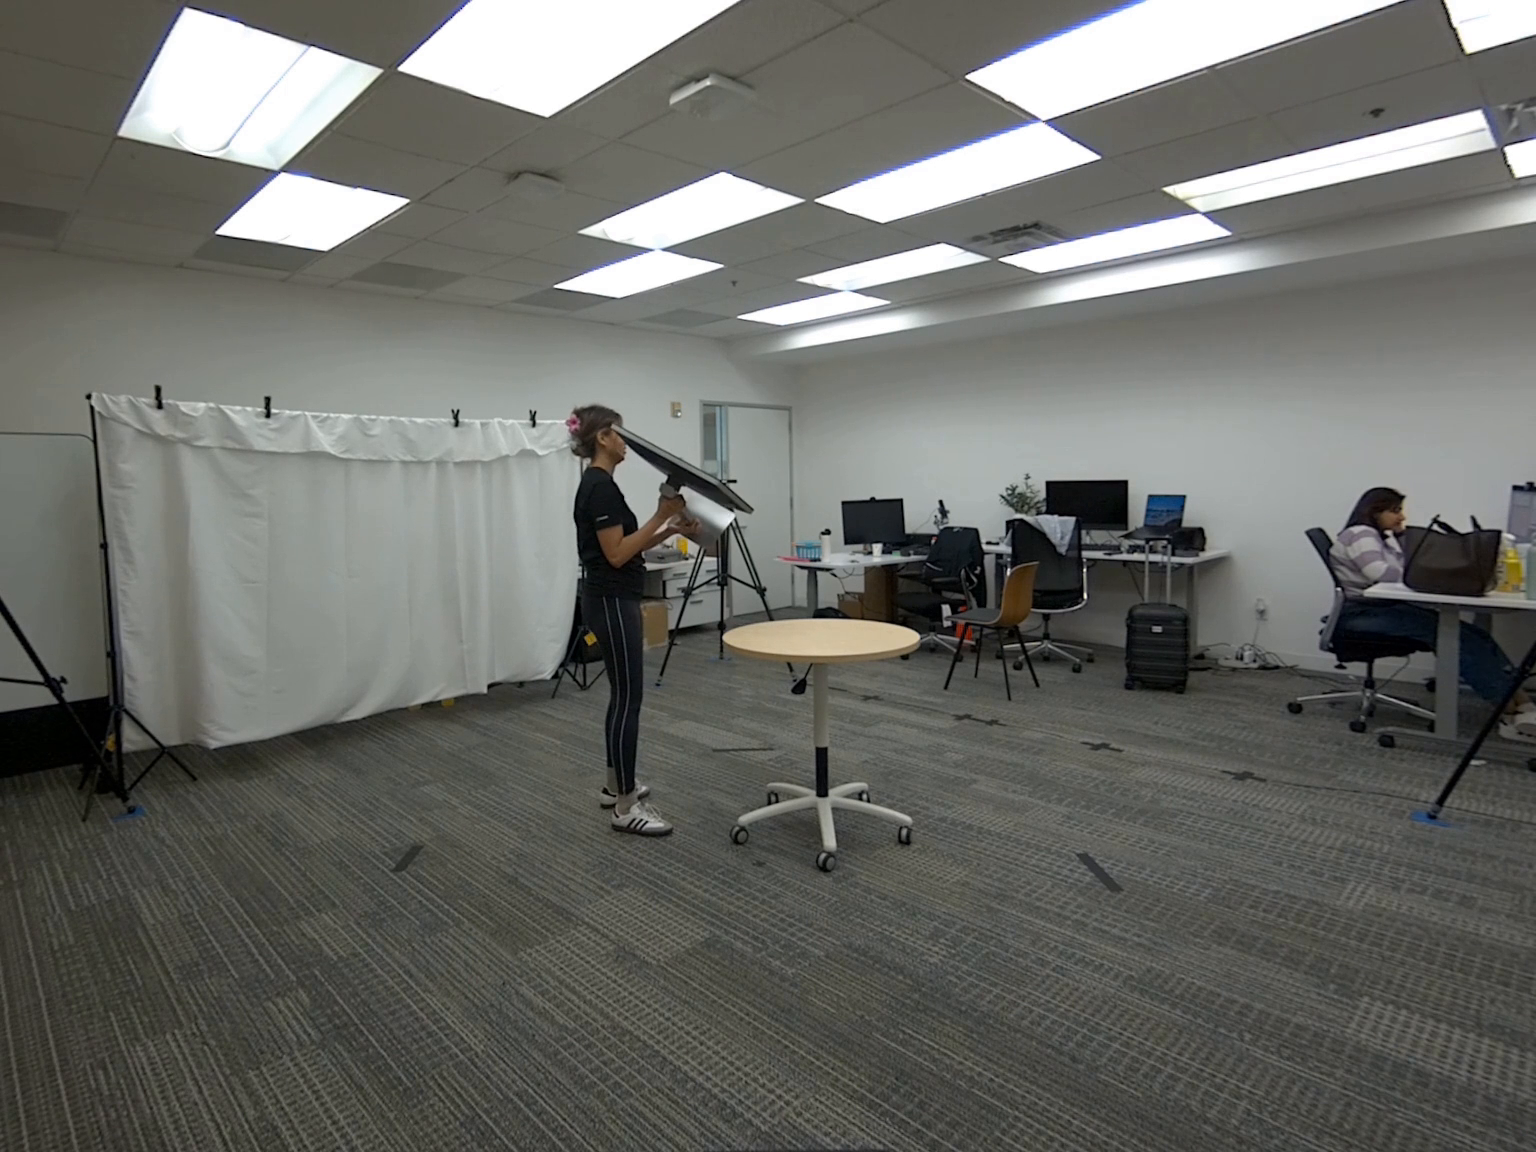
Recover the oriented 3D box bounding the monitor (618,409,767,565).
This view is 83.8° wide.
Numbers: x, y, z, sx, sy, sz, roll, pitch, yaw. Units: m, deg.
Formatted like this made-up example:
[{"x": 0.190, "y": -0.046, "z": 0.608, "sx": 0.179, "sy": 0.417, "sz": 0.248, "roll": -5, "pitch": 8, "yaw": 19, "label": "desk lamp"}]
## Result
[{"x": -0.332, "y": -0.359, "z": 3.487, "sx": 0.557, "sy": 0.187, "sz": 0.505, "roll": 30, "pitch": -17, "yaw": 28, "label": "monitor"}]
